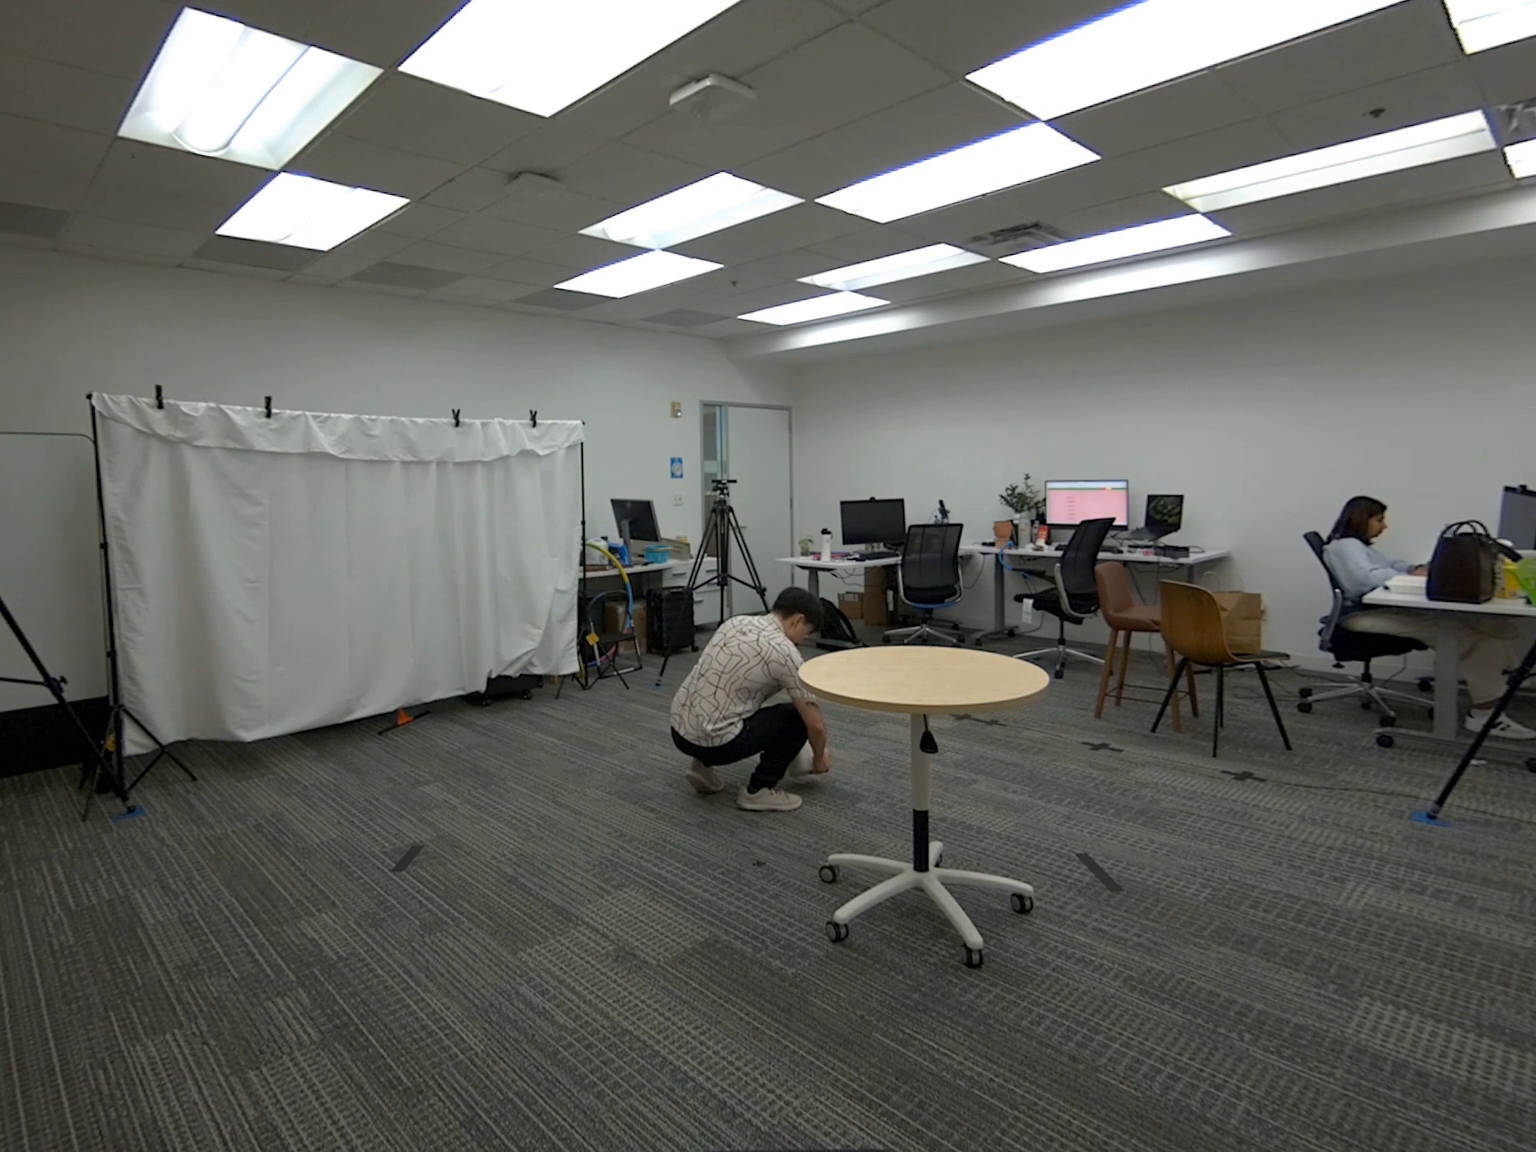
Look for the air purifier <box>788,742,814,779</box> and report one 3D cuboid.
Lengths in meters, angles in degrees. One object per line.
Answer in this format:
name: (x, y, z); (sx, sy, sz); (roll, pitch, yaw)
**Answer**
air purifier: (0.162, 0.764, 3.924); (0.168, 0.272, 0.170); (-5, -23, -21)
